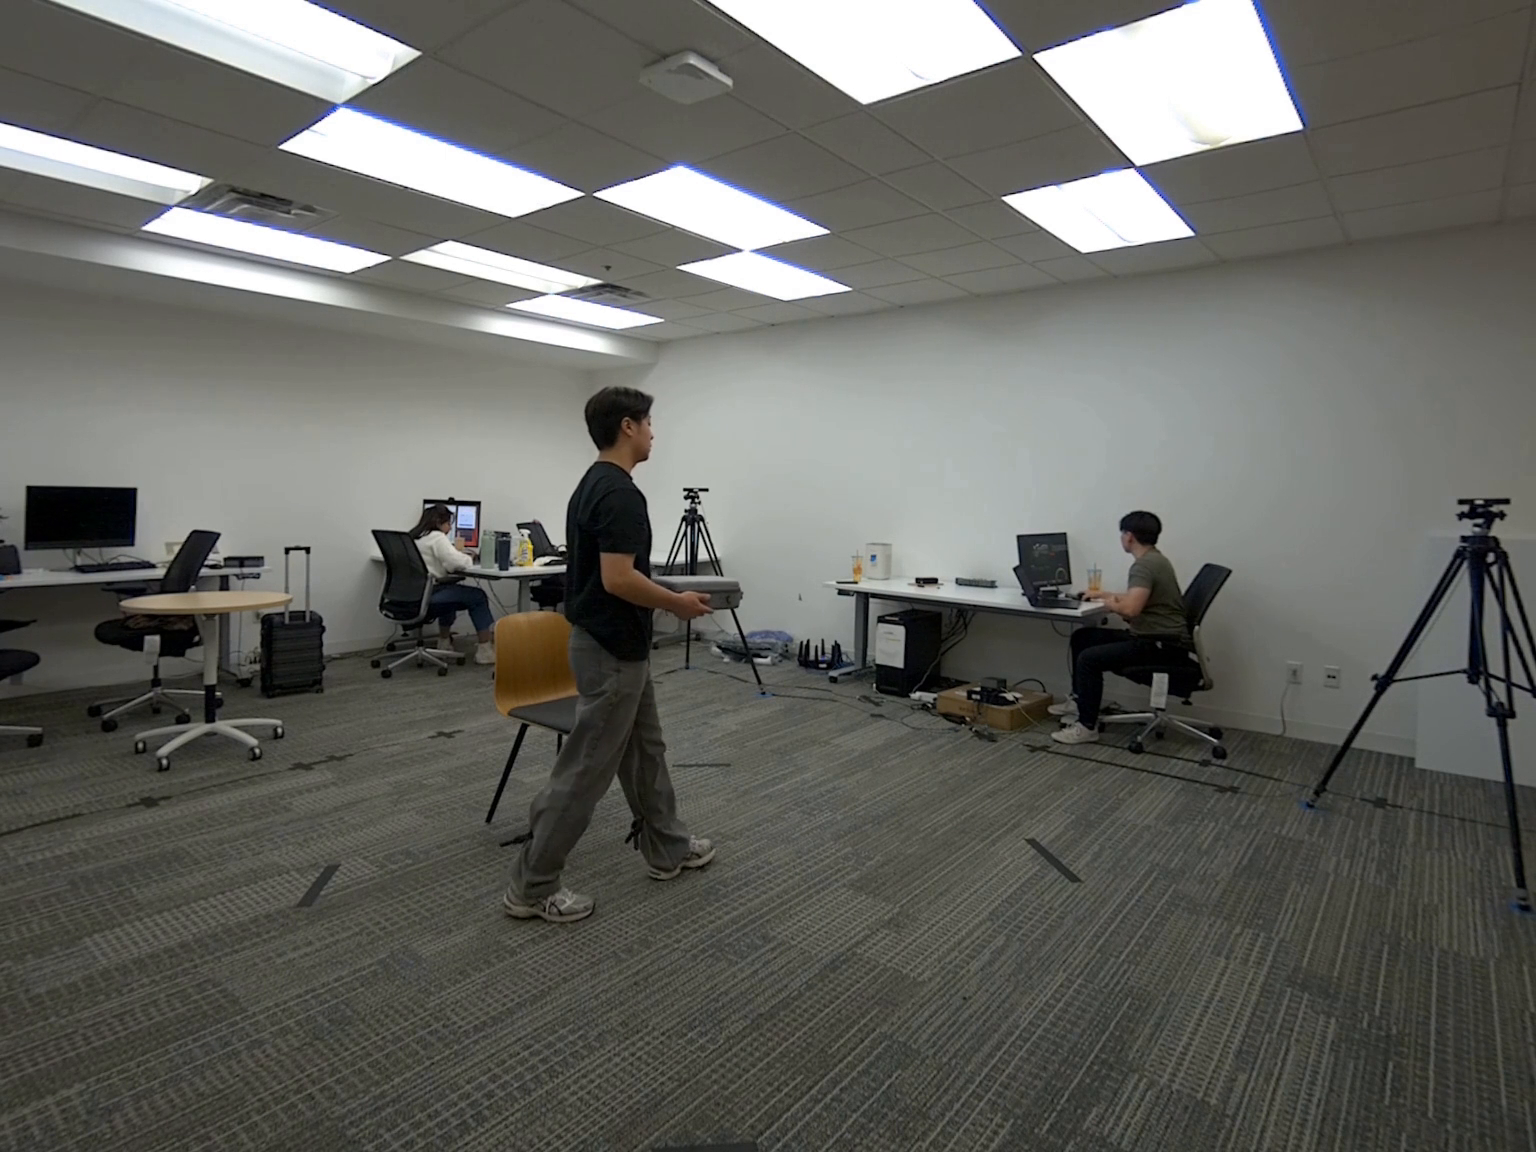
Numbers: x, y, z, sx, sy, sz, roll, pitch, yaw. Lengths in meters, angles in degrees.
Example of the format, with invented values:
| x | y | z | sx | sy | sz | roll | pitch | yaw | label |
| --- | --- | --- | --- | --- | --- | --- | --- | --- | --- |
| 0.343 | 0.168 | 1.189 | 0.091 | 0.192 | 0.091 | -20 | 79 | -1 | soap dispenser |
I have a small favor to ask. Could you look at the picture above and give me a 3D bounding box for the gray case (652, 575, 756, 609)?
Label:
| x | y | z | sx | sy | sz | roll | pitch | yaw | label |
| --- | --- | --- | --- | --- | --- | --- | --- | --- | --- |
| -0.236 | 0.053 | 2.950 | 0.280 | 0.103 | 0.270 | -2 | 1 | -28 | gray case |
